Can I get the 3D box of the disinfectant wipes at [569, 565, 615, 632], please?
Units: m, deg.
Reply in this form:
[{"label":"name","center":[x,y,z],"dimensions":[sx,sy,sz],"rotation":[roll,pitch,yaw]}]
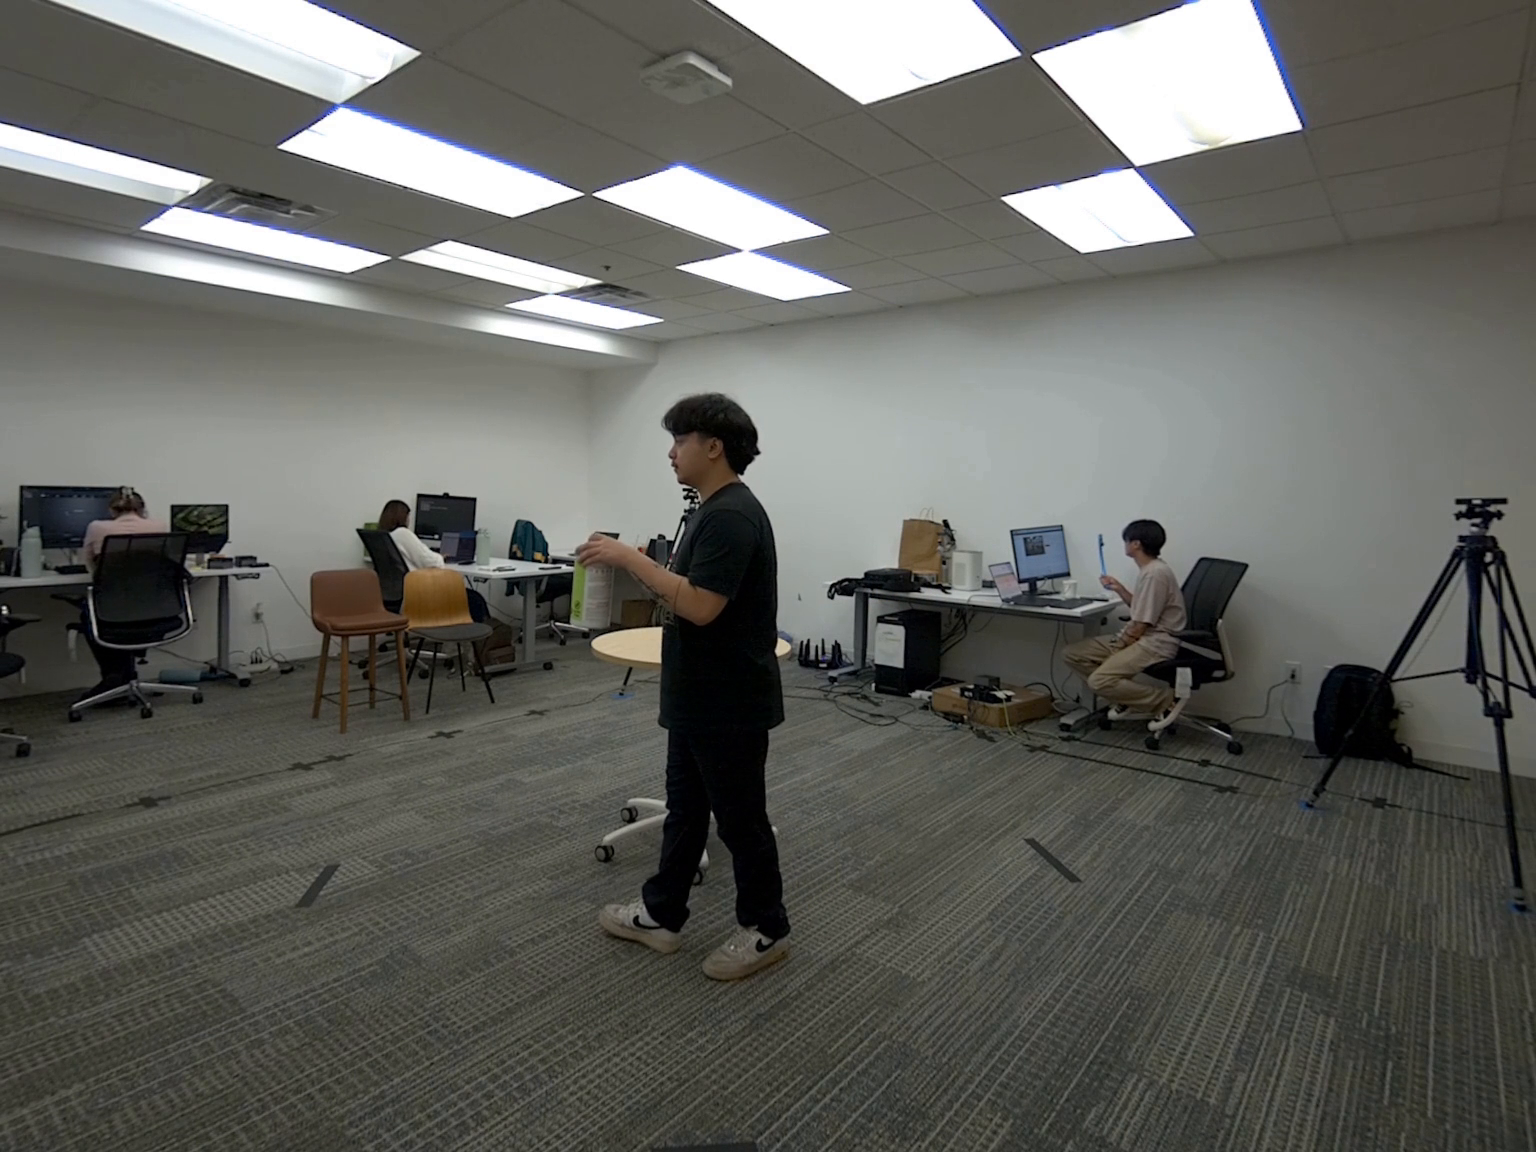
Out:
[{"label":"disinfectant wipes","center":[-0.488,0.029,2.351],"dimensions":[0.117,0.217,0.118],"rotation":[4,3,-2]}]
